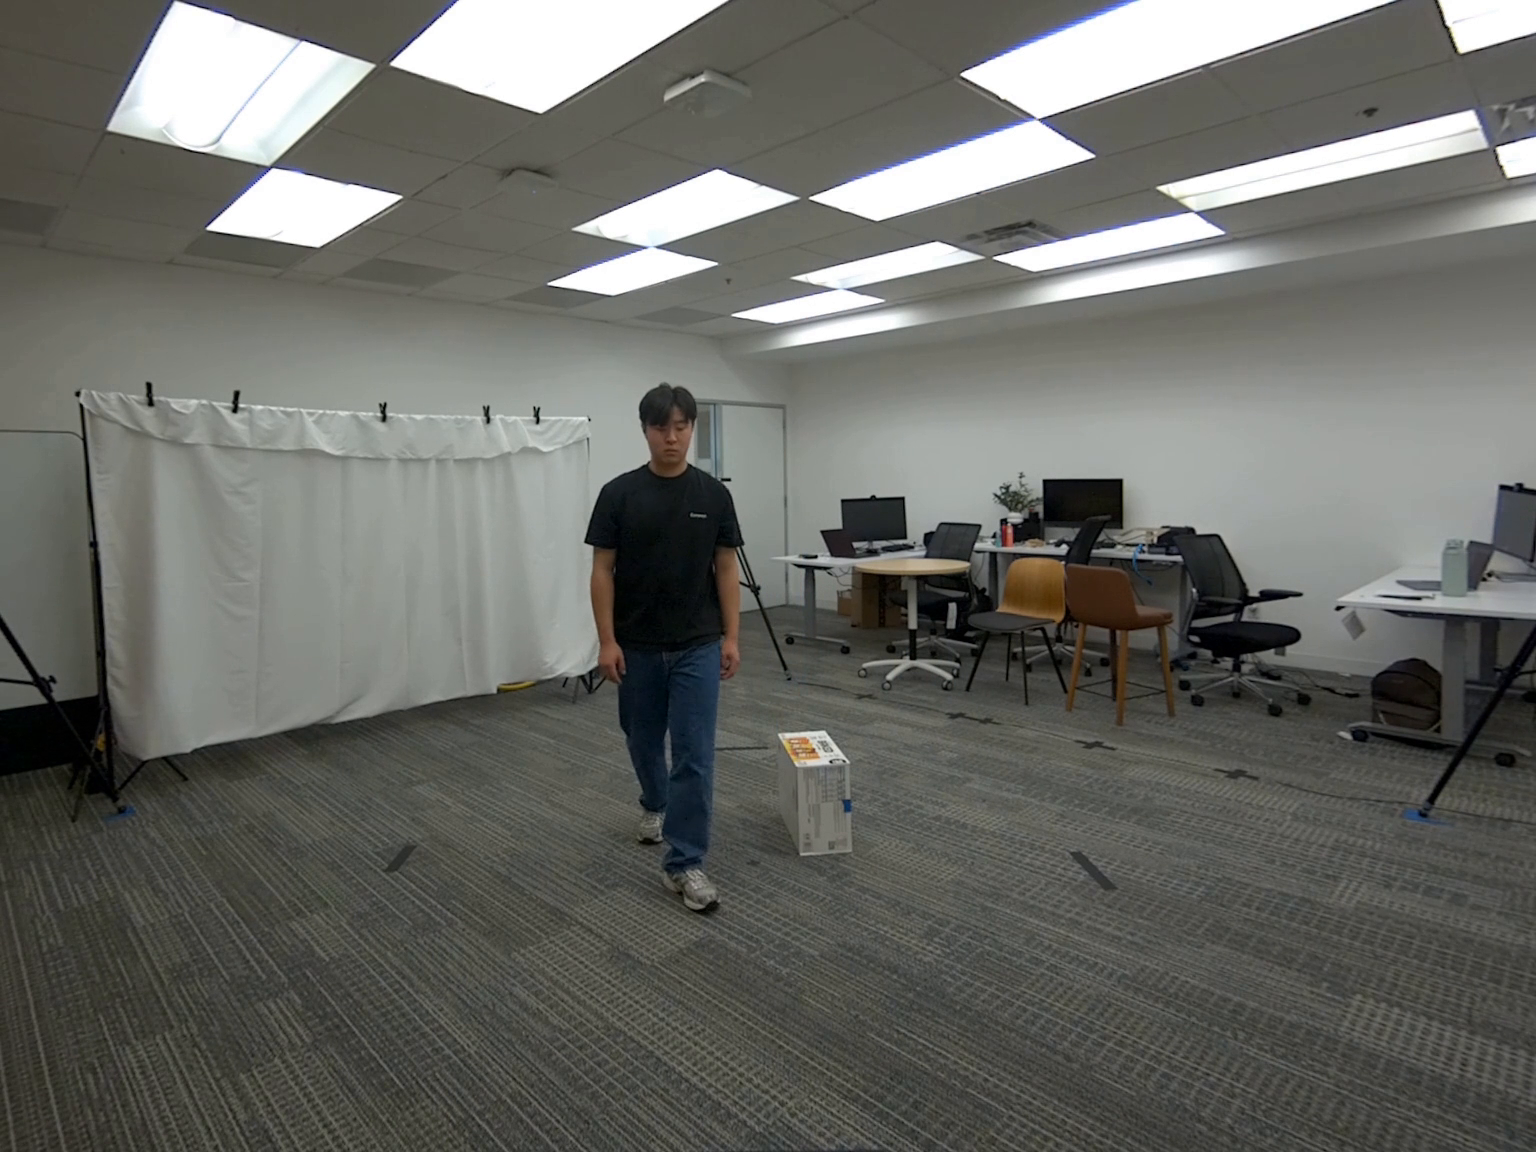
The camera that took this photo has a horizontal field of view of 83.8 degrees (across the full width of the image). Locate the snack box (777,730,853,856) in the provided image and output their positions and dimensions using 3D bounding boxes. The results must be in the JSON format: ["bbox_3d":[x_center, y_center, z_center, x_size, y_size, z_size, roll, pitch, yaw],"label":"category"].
[{"bbox_3d":[0.183,0.838,3.362,0.204,0.339,0.410,-3,6,-9],"label":"snack box"}]
